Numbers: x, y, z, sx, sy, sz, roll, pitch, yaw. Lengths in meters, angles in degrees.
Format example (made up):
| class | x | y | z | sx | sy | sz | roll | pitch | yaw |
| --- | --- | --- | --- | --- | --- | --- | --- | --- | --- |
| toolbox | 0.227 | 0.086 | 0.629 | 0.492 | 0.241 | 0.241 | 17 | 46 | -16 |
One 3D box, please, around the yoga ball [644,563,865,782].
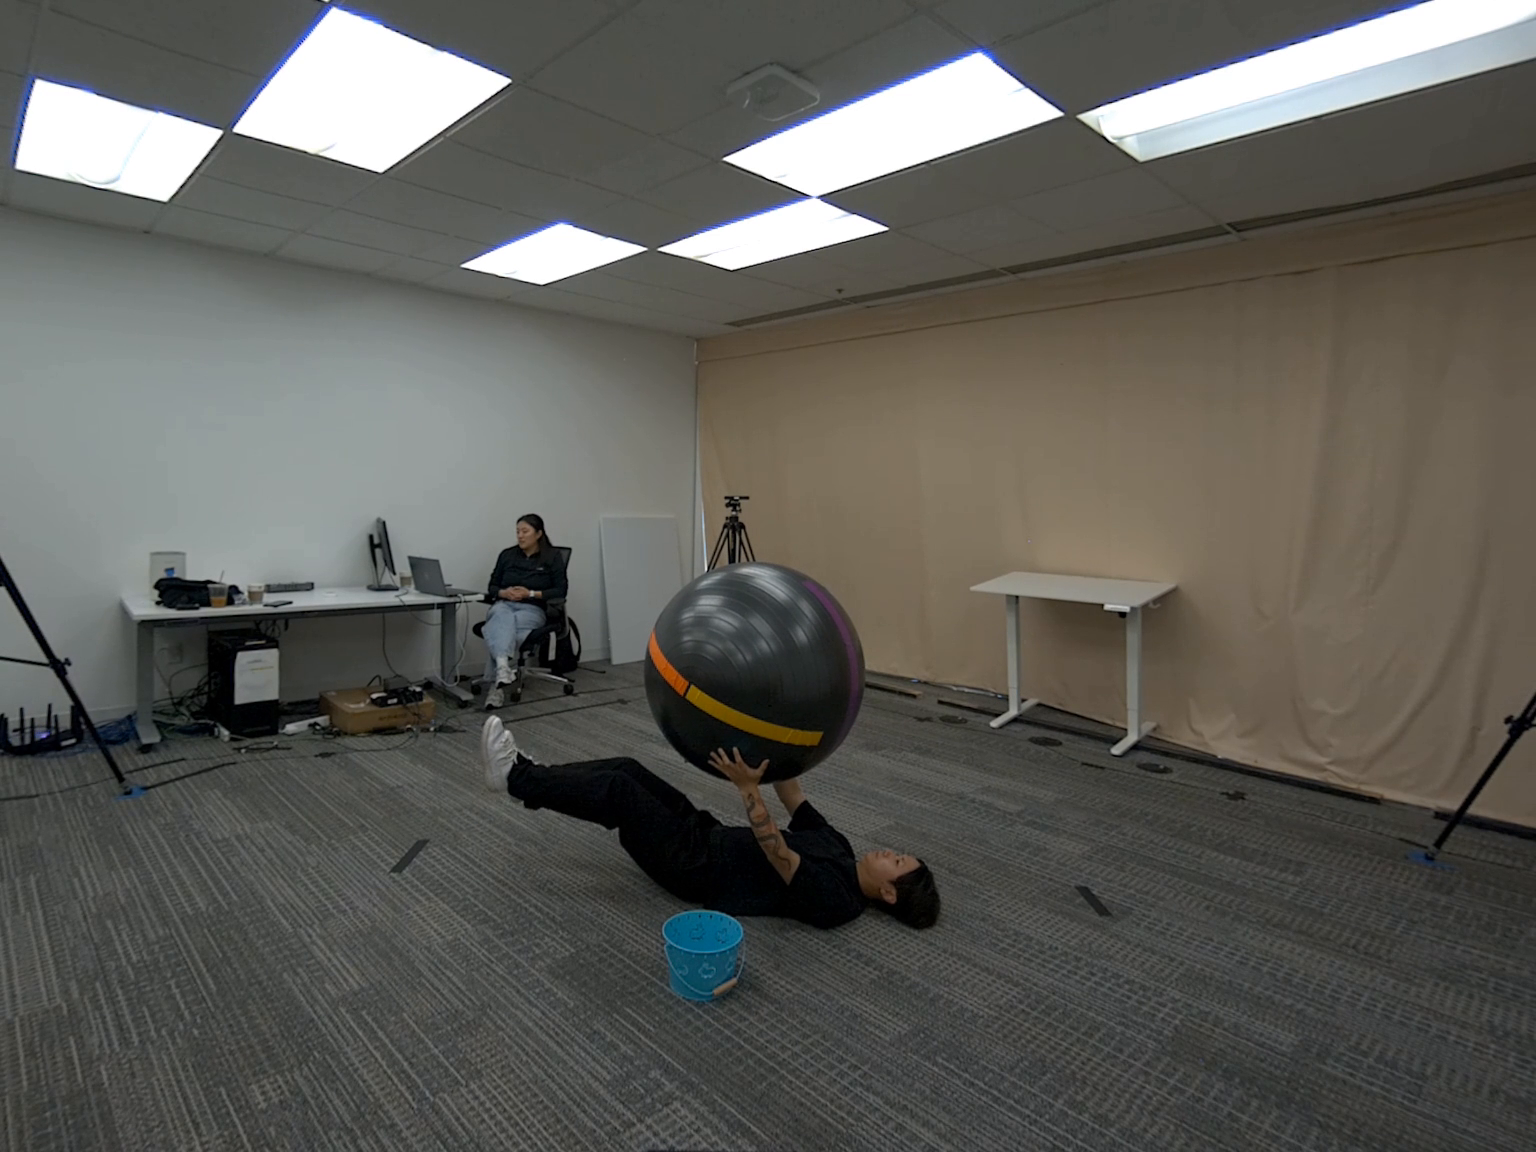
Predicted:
| class | x | y | z | sx | sy | sz | roll | pitch | yaw |
| --- | --- | --- | --- | --- | --- | --- | --- | --- | --- |
| yoga ball | -0.048 | 0.337 | 2.920 | 0.757 | 0.756 | 0.761 | 1 | 4 | -1 |
